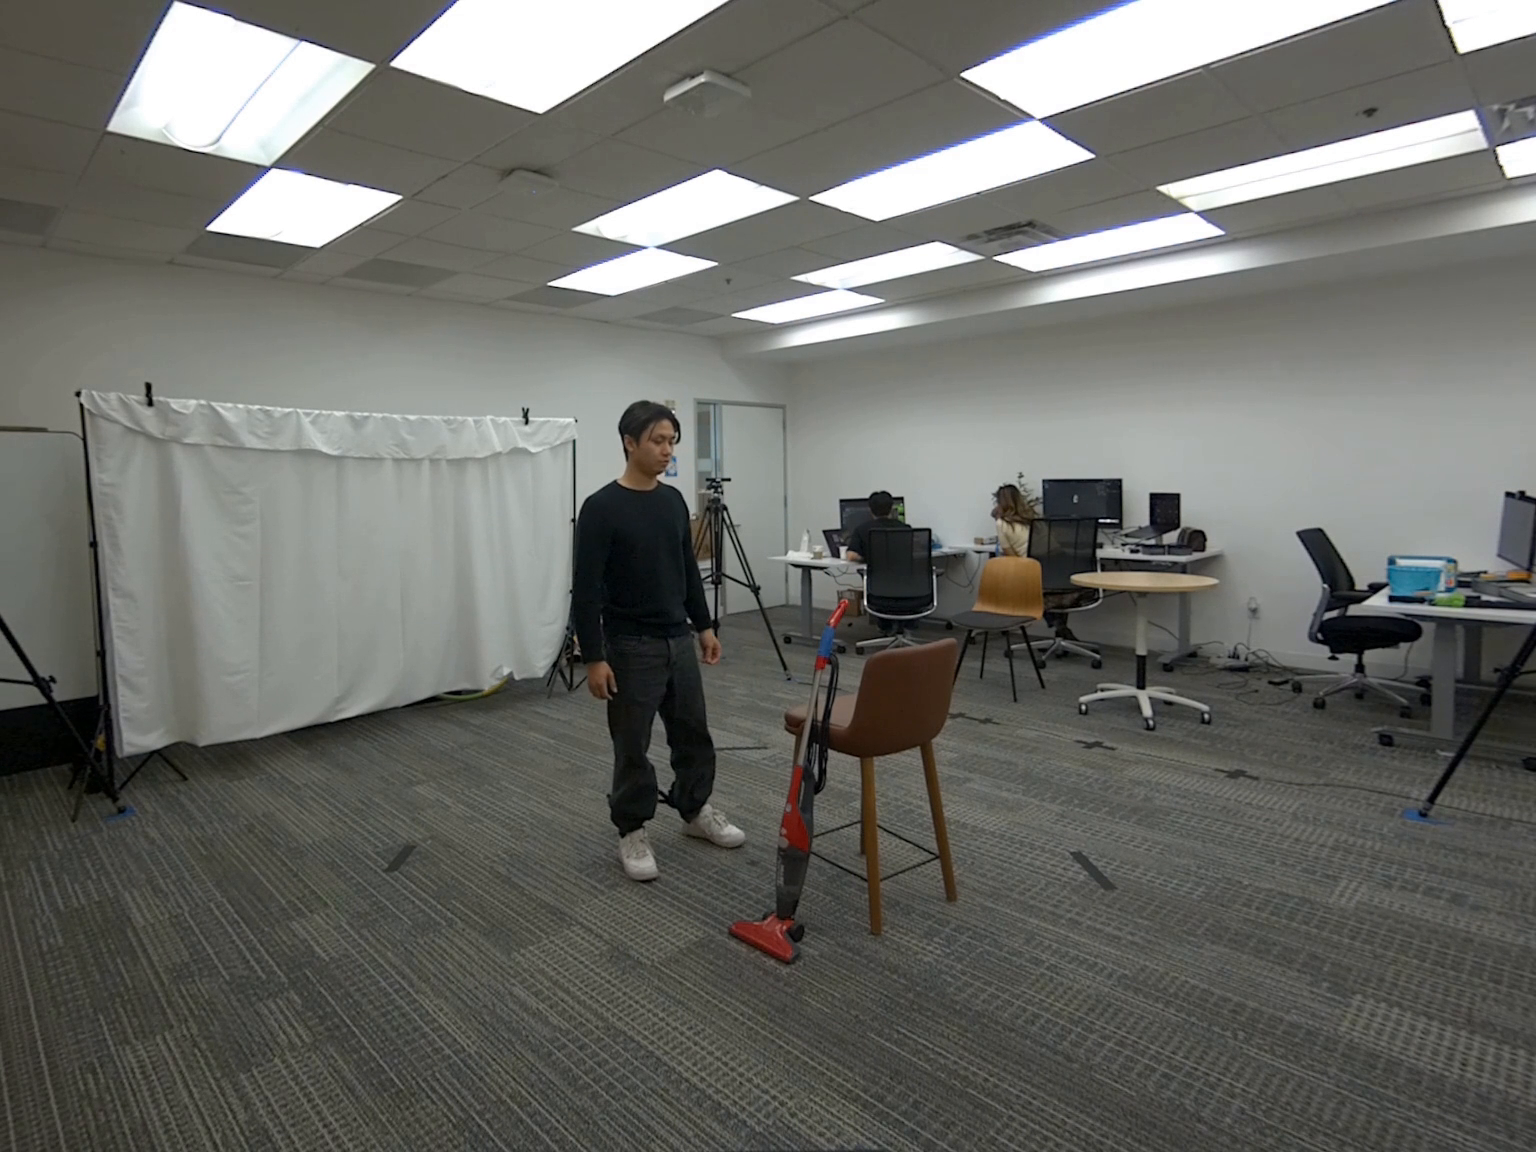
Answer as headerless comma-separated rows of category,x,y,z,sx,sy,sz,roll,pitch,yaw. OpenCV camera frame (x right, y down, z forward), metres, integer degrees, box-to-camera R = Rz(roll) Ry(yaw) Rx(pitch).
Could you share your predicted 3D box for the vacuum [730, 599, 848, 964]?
vacuum,0.137,0.602,2.664,0.260,1.056,0.139,4,-13,43
